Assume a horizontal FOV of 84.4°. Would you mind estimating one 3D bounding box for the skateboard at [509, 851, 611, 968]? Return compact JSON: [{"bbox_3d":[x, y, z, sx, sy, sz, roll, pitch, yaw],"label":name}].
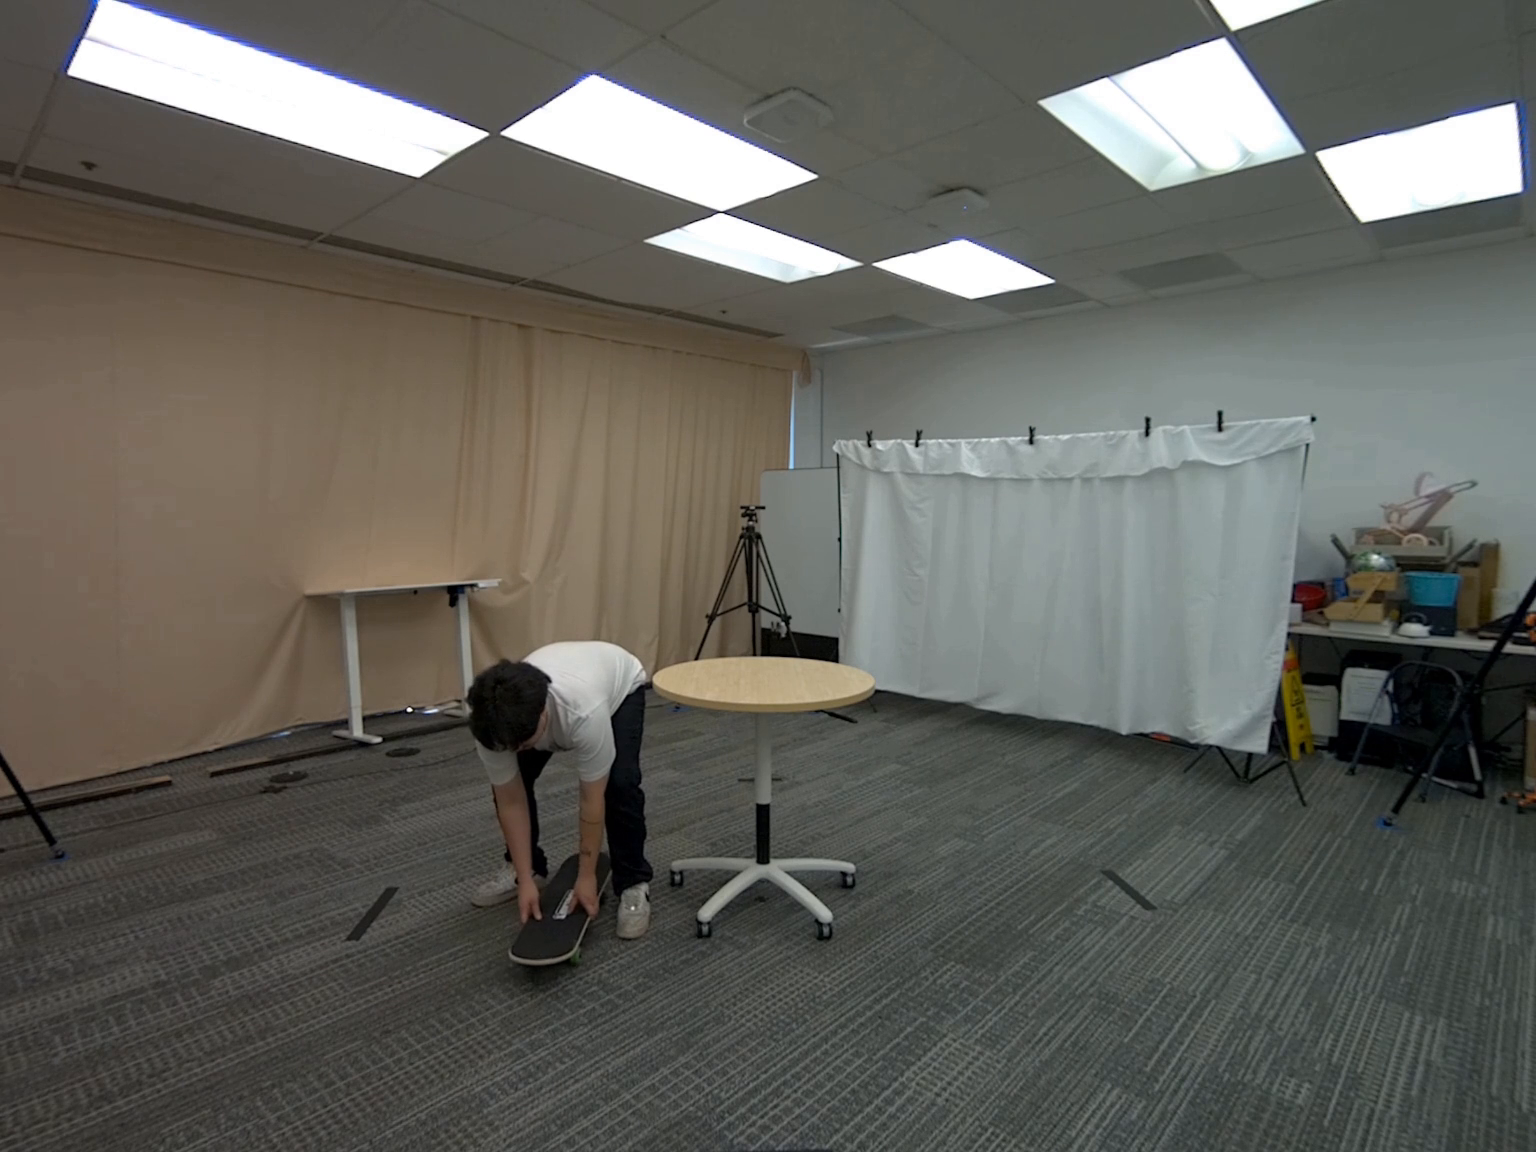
[{"bbox_3d":[-0.658,1.107,2.764,0.194,0.110,0.784,0,4,2],"label":"skateboard"}]
